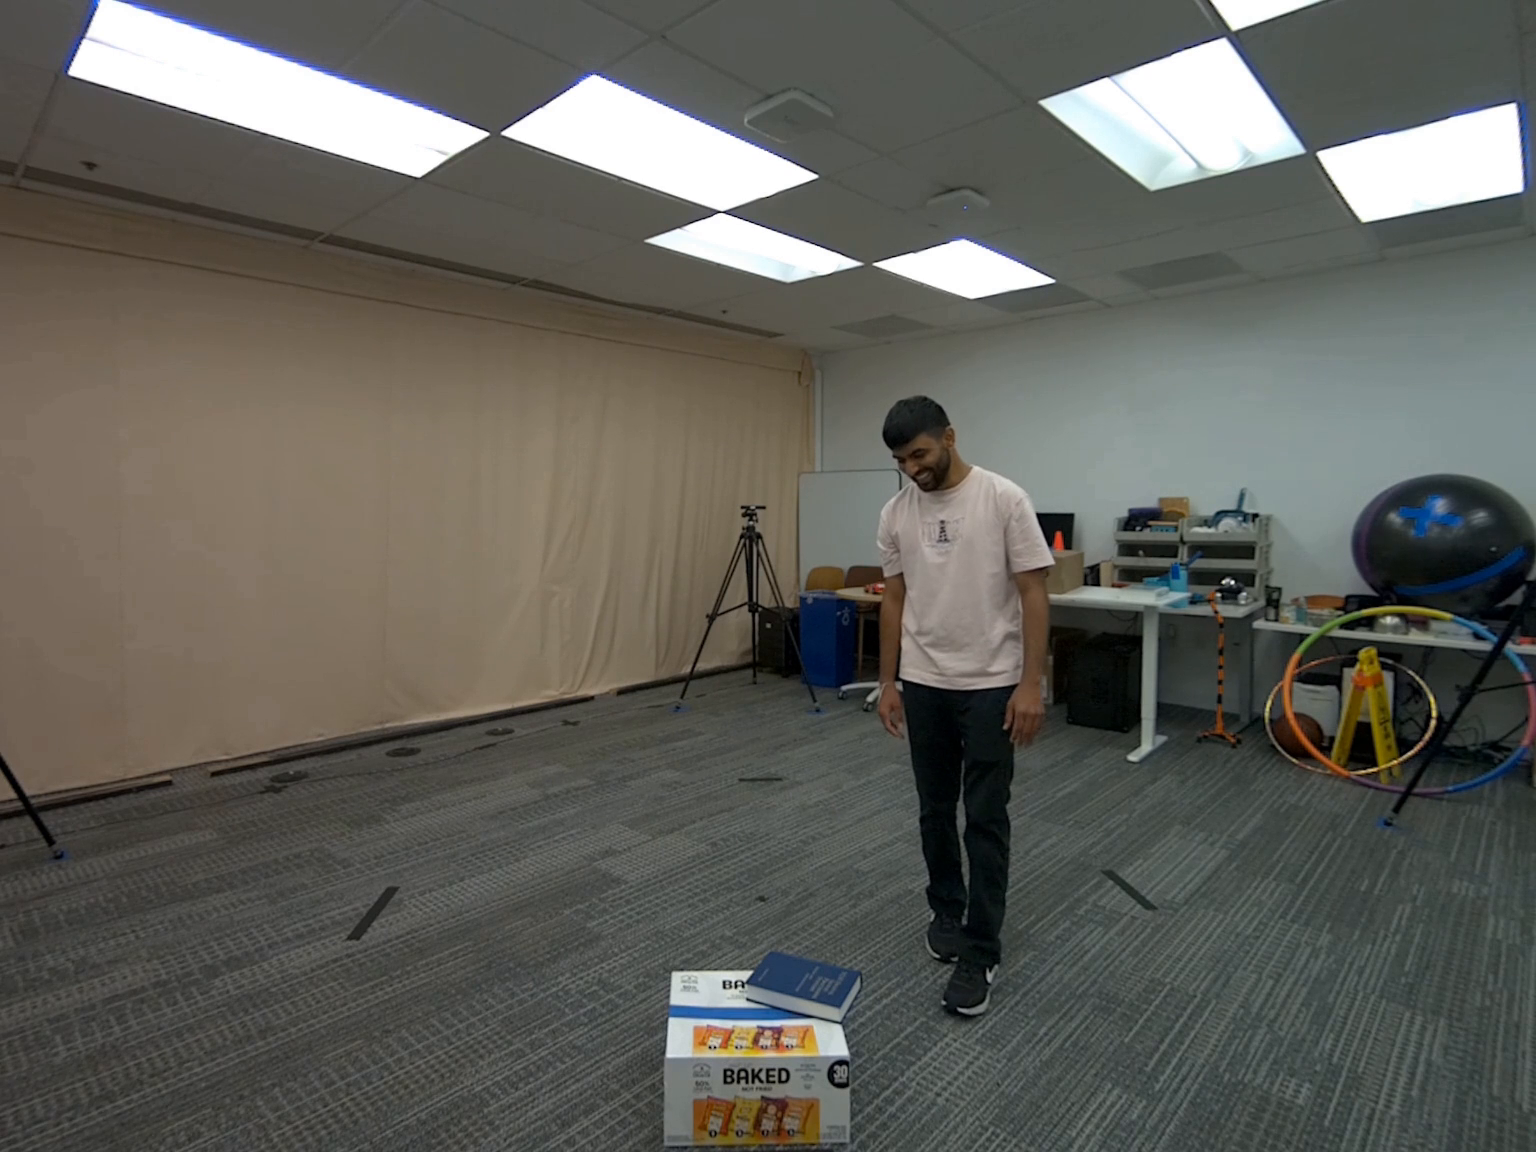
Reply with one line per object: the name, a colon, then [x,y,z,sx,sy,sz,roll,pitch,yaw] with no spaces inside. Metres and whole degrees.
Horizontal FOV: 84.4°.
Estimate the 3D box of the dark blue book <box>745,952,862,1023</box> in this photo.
dark blue book: [0.094,0.999,2.051,0.251,0.045,0.160,1,7,26]
